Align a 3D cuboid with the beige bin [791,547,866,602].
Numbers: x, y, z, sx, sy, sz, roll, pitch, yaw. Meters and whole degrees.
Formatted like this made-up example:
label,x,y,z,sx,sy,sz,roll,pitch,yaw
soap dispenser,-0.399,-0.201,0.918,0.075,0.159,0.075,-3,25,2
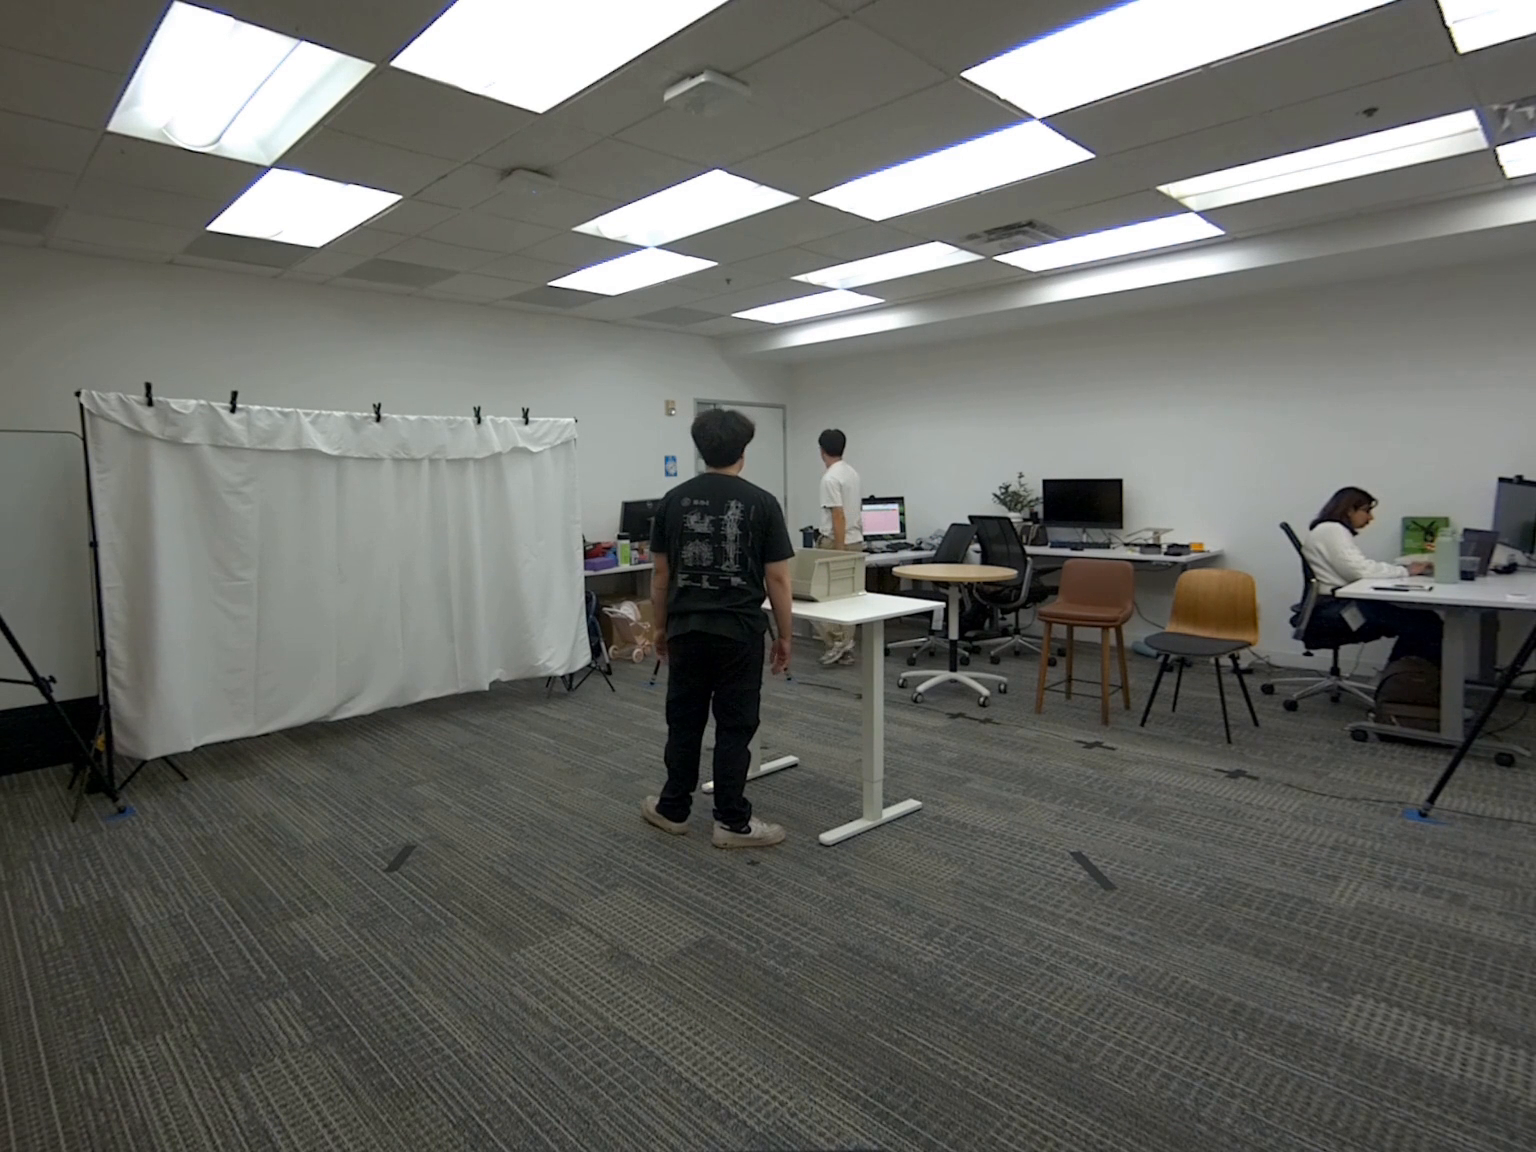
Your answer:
label,x,y,z,sx,sy,sz,roll,pitch,yaw
beige bin,0.164,-0.005,3.748,0.367,0.188,0.435,-6,8,-43
